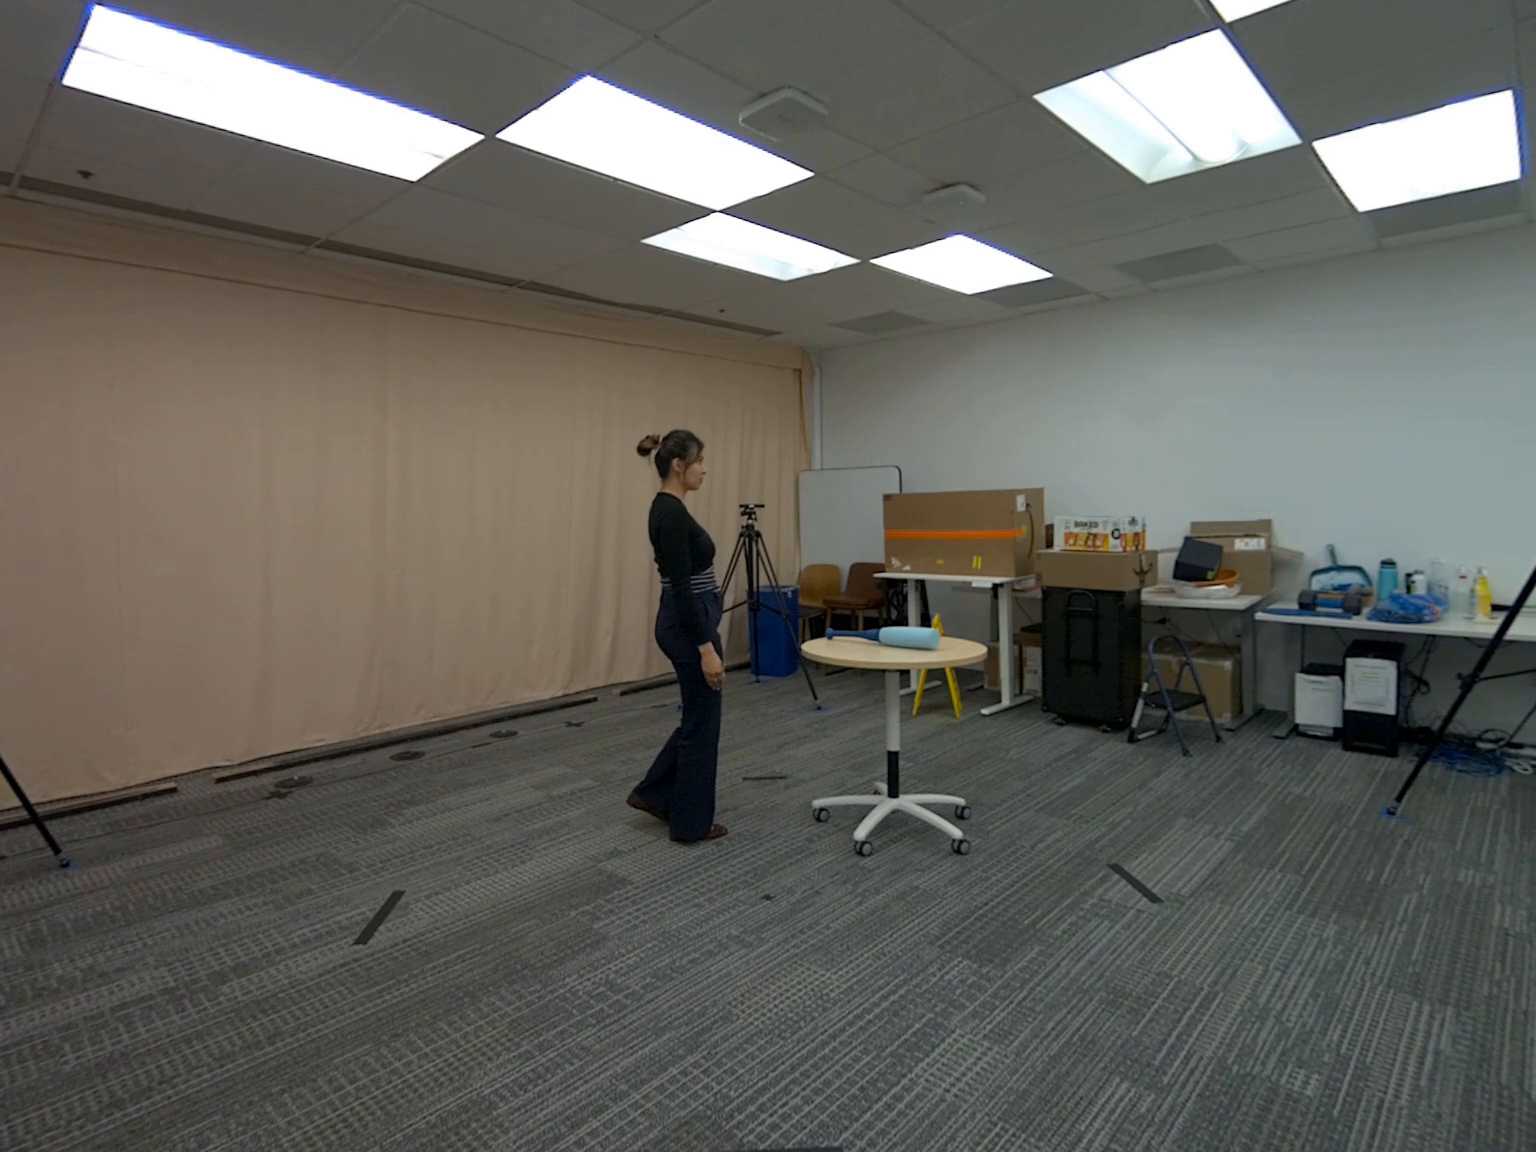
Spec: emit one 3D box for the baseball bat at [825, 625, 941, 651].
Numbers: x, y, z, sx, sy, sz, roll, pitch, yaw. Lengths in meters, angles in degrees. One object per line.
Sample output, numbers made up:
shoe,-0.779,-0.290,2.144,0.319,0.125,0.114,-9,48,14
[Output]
baseball bat,0.481,0.258,3.613,0.560,0.089,0.086,0,4,41
